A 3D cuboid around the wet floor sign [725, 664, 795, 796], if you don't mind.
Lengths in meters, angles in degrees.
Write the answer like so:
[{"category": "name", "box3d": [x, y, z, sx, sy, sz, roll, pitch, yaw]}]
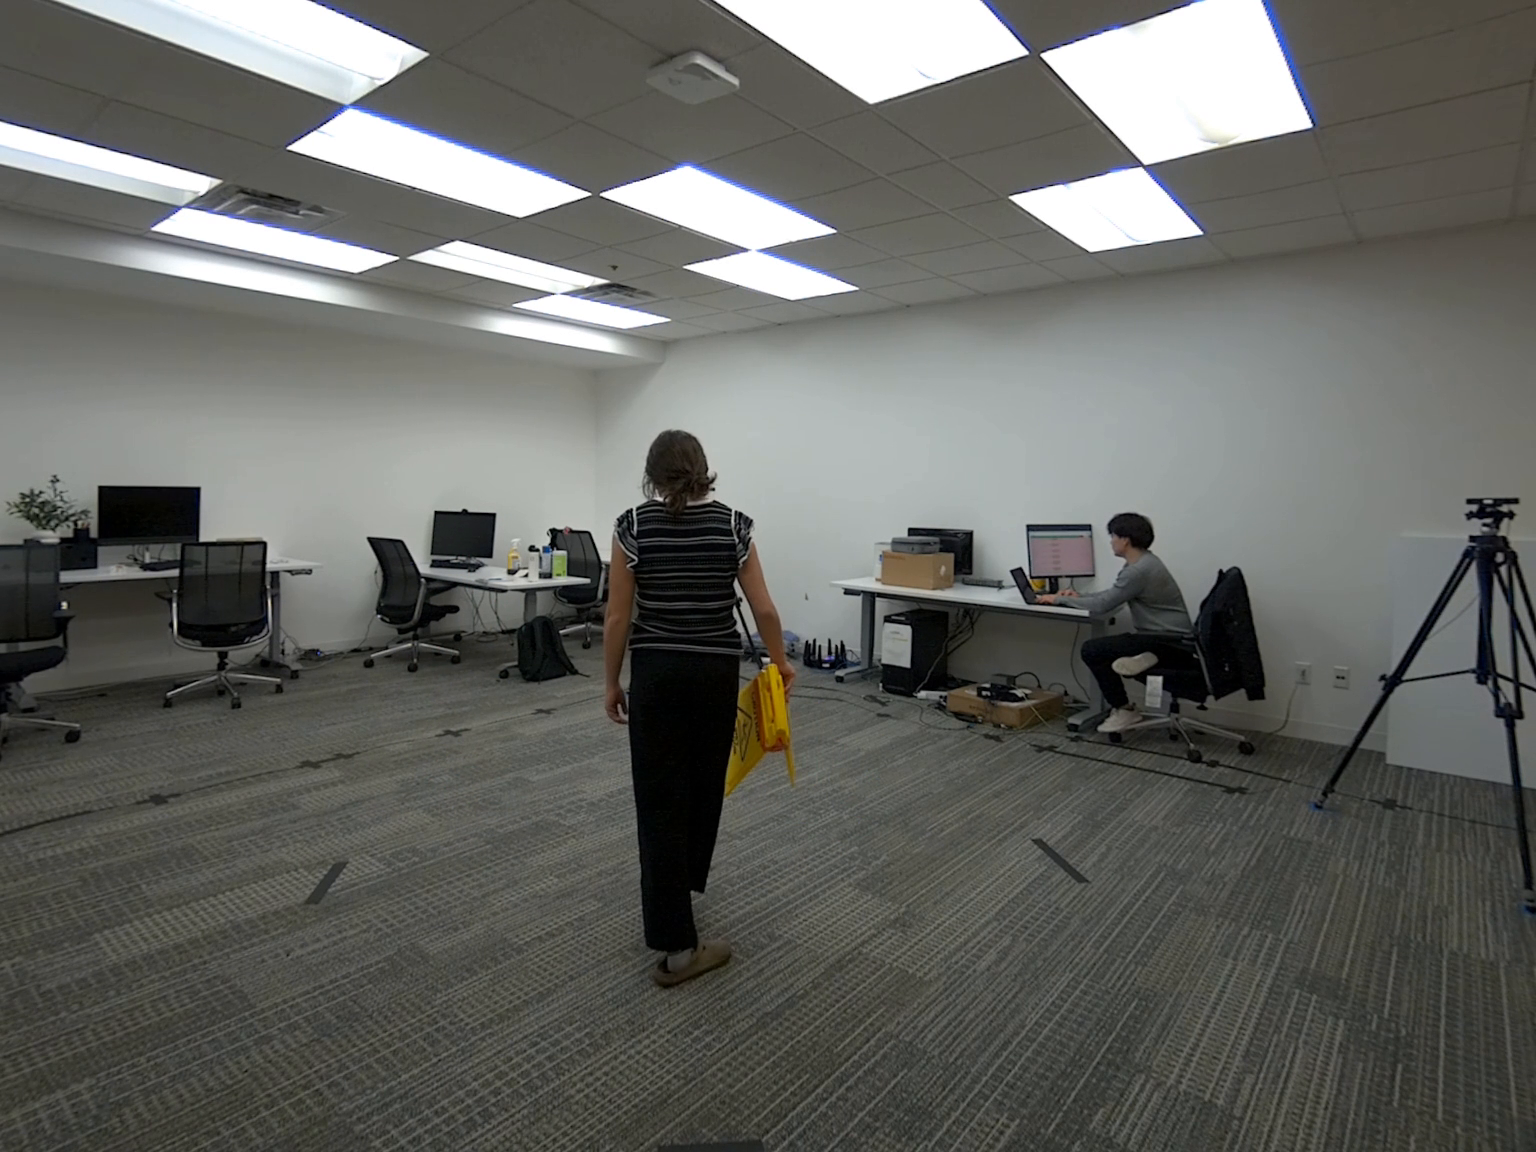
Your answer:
[{"category": "wet floor sign", "box3d": [-0.013, 0.472, 2.681, 0.287, 0.290, 0.634, -3, -26, -9]}]
